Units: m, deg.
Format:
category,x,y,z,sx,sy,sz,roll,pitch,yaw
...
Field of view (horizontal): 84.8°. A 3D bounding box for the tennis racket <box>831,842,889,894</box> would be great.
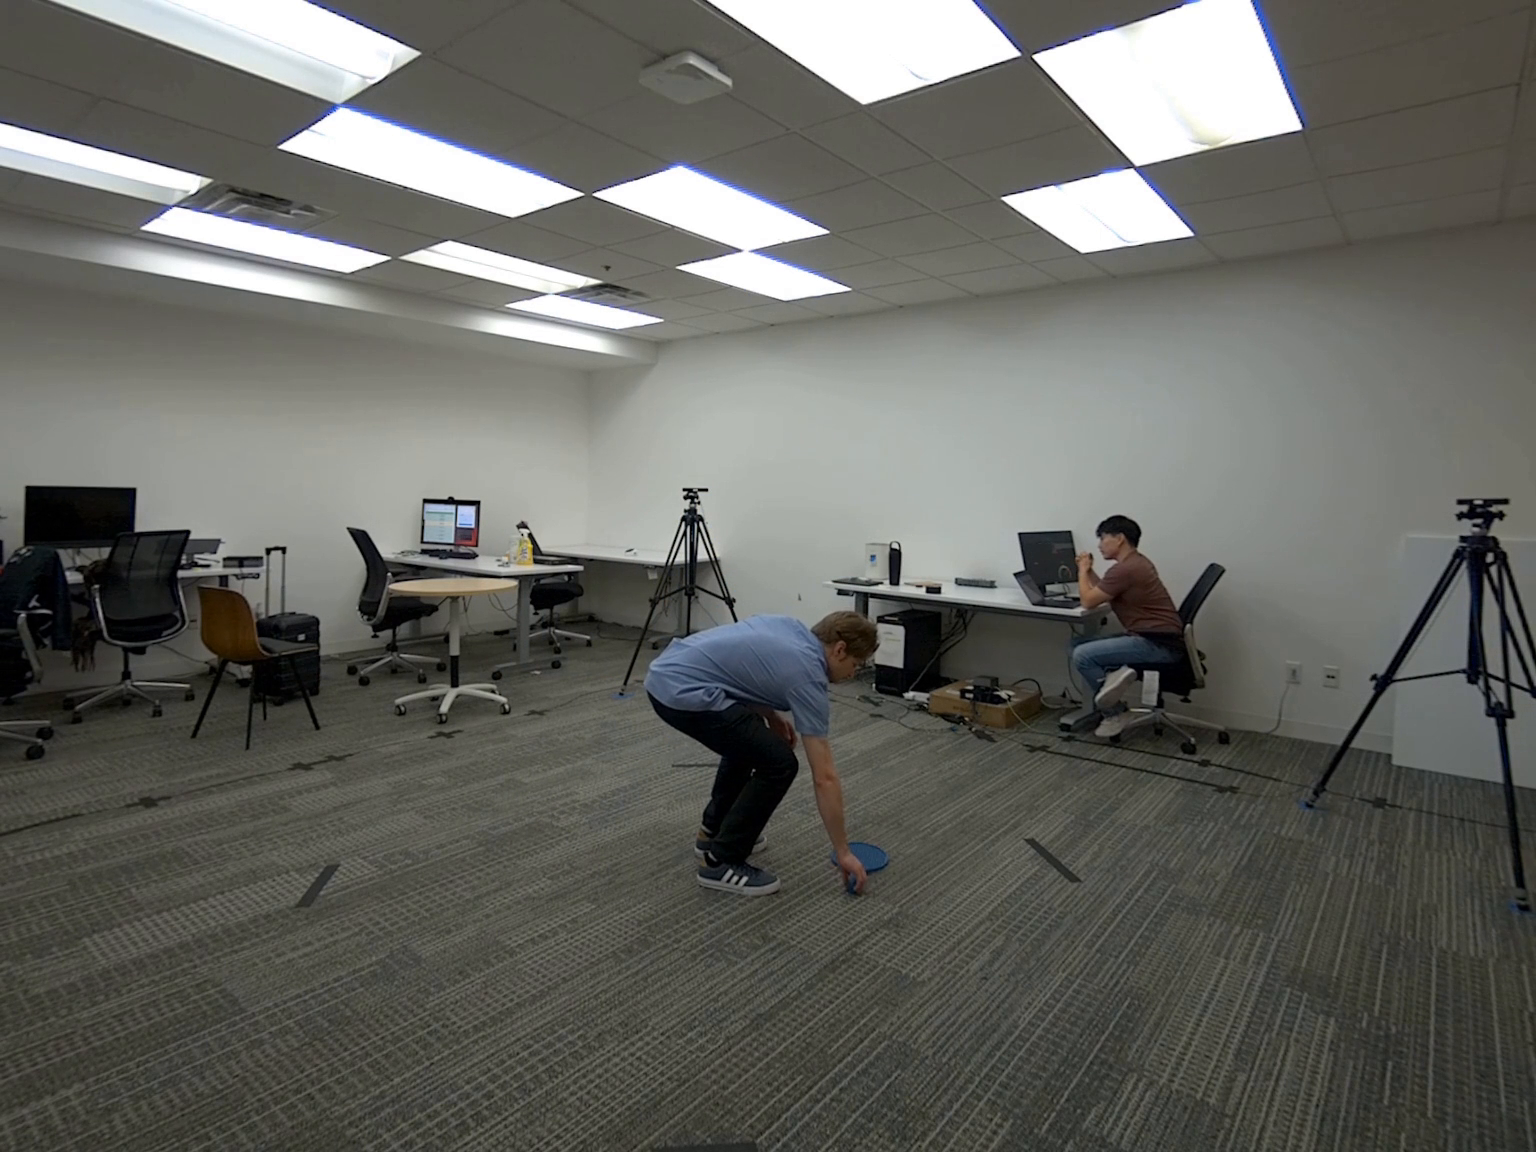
category,x,y,z,sx,sy,sz,roll,pitch,yaw
tennis racket,0.320,1.058,3.147,0.217,0.032,0.426,3,3,14
